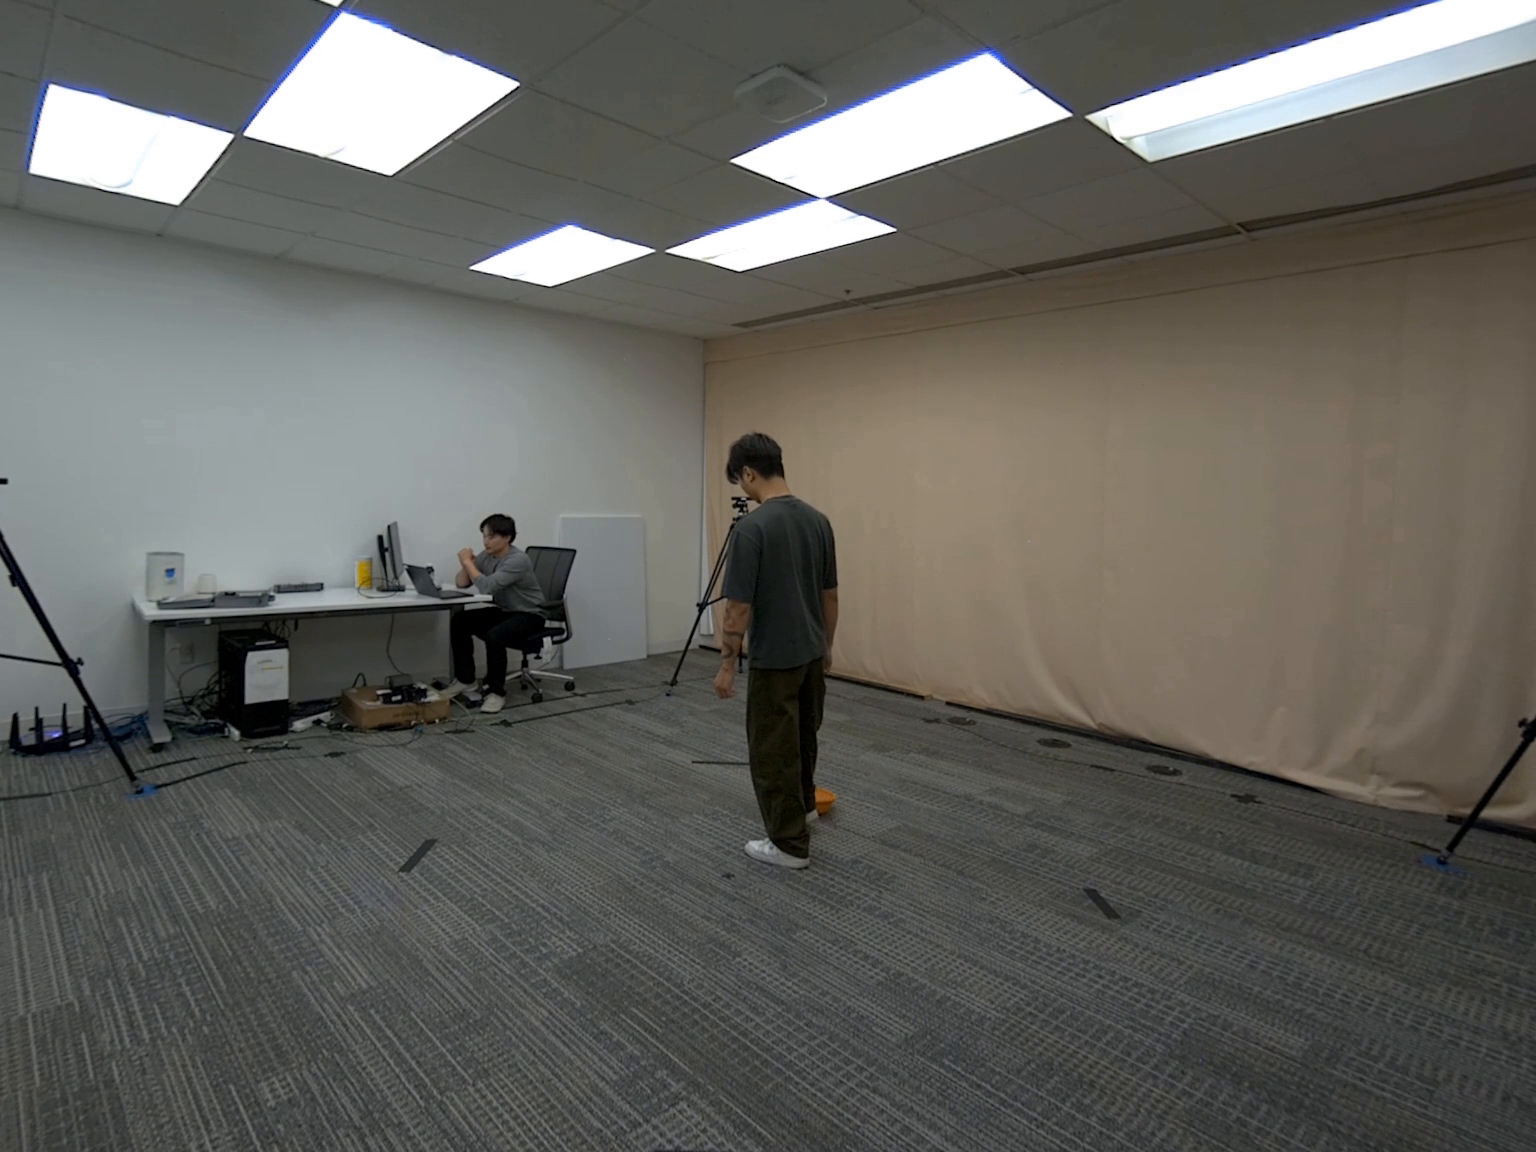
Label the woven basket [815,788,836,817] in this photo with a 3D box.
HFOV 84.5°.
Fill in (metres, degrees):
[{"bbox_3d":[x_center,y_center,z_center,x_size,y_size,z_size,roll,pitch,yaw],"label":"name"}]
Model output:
[{"bbox_3d":[0.134,1.013,3.827,0.359,0.073,0.246,5,1,37],"label":"woven basket"}]
